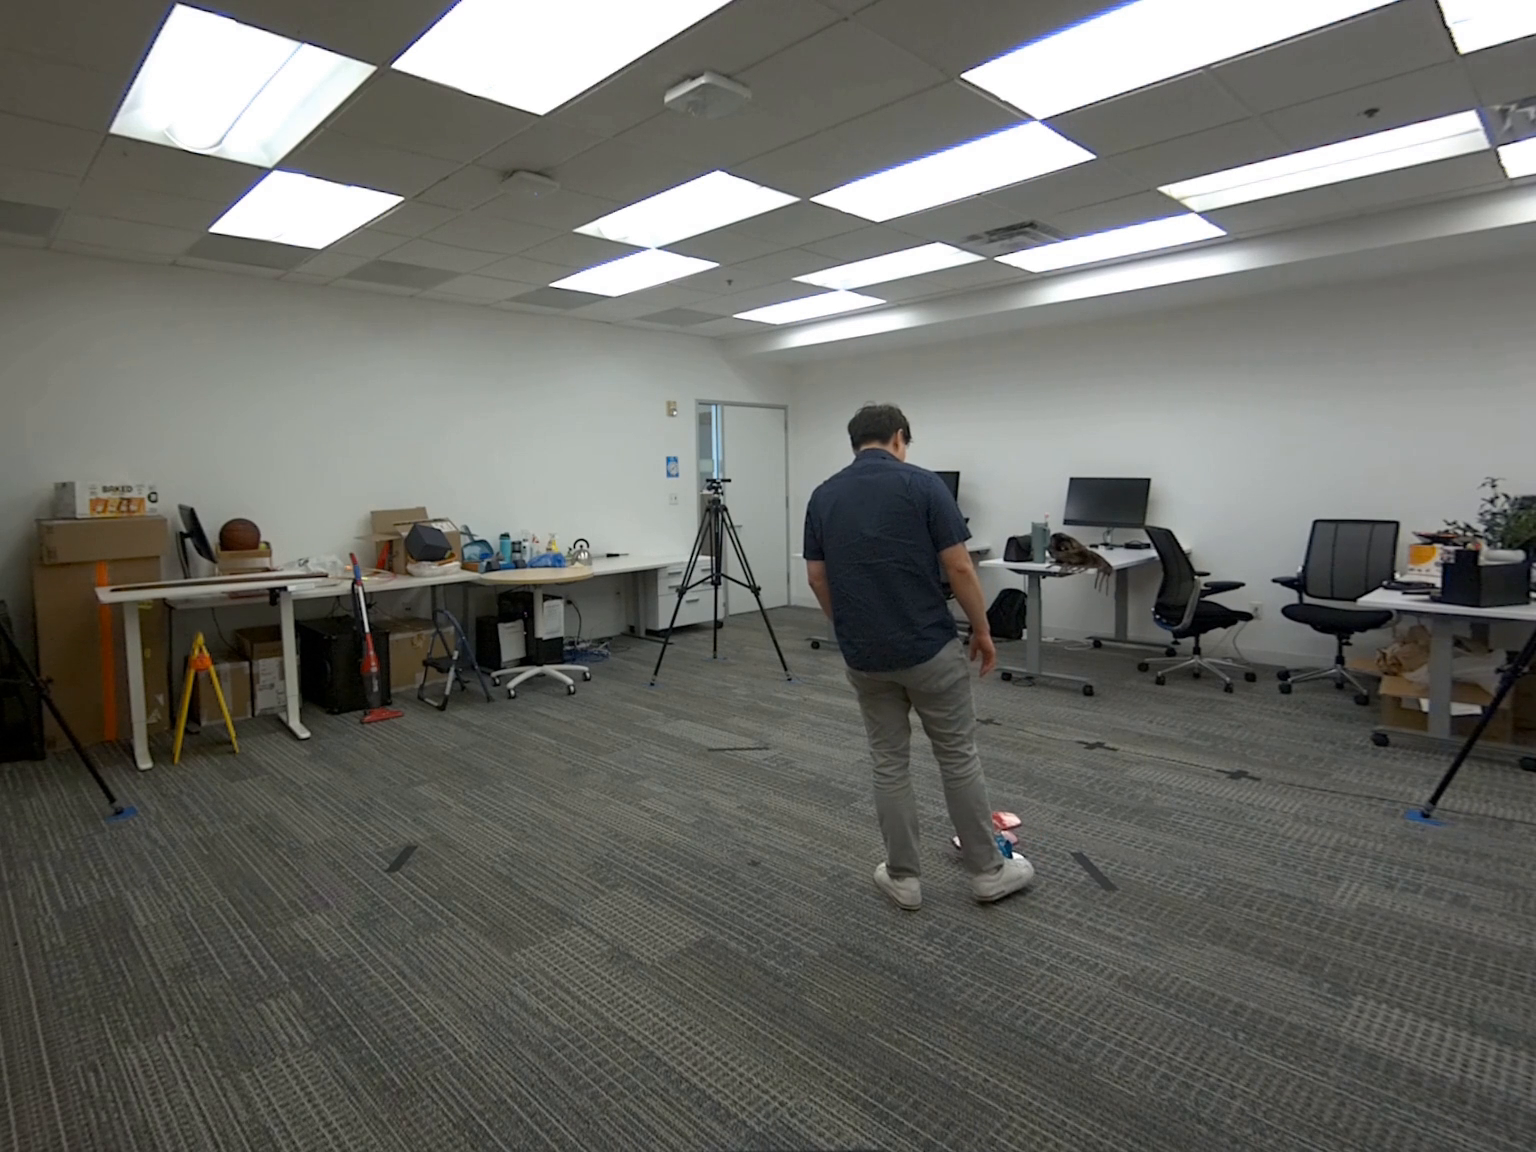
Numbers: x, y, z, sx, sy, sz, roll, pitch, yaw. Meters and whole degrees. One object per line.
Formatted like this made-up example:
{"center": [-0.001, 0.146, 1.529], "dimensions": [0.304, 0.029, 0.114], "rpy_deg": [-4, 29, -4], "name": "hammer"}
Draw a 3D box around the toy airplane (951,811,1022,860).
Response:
{"center": [0.836, 0.961, 3.079], "dimensions": [0.244, 0.156, 0.267], "rpy_deg": [-4, 5, -41], "name": "toy airplane"}
